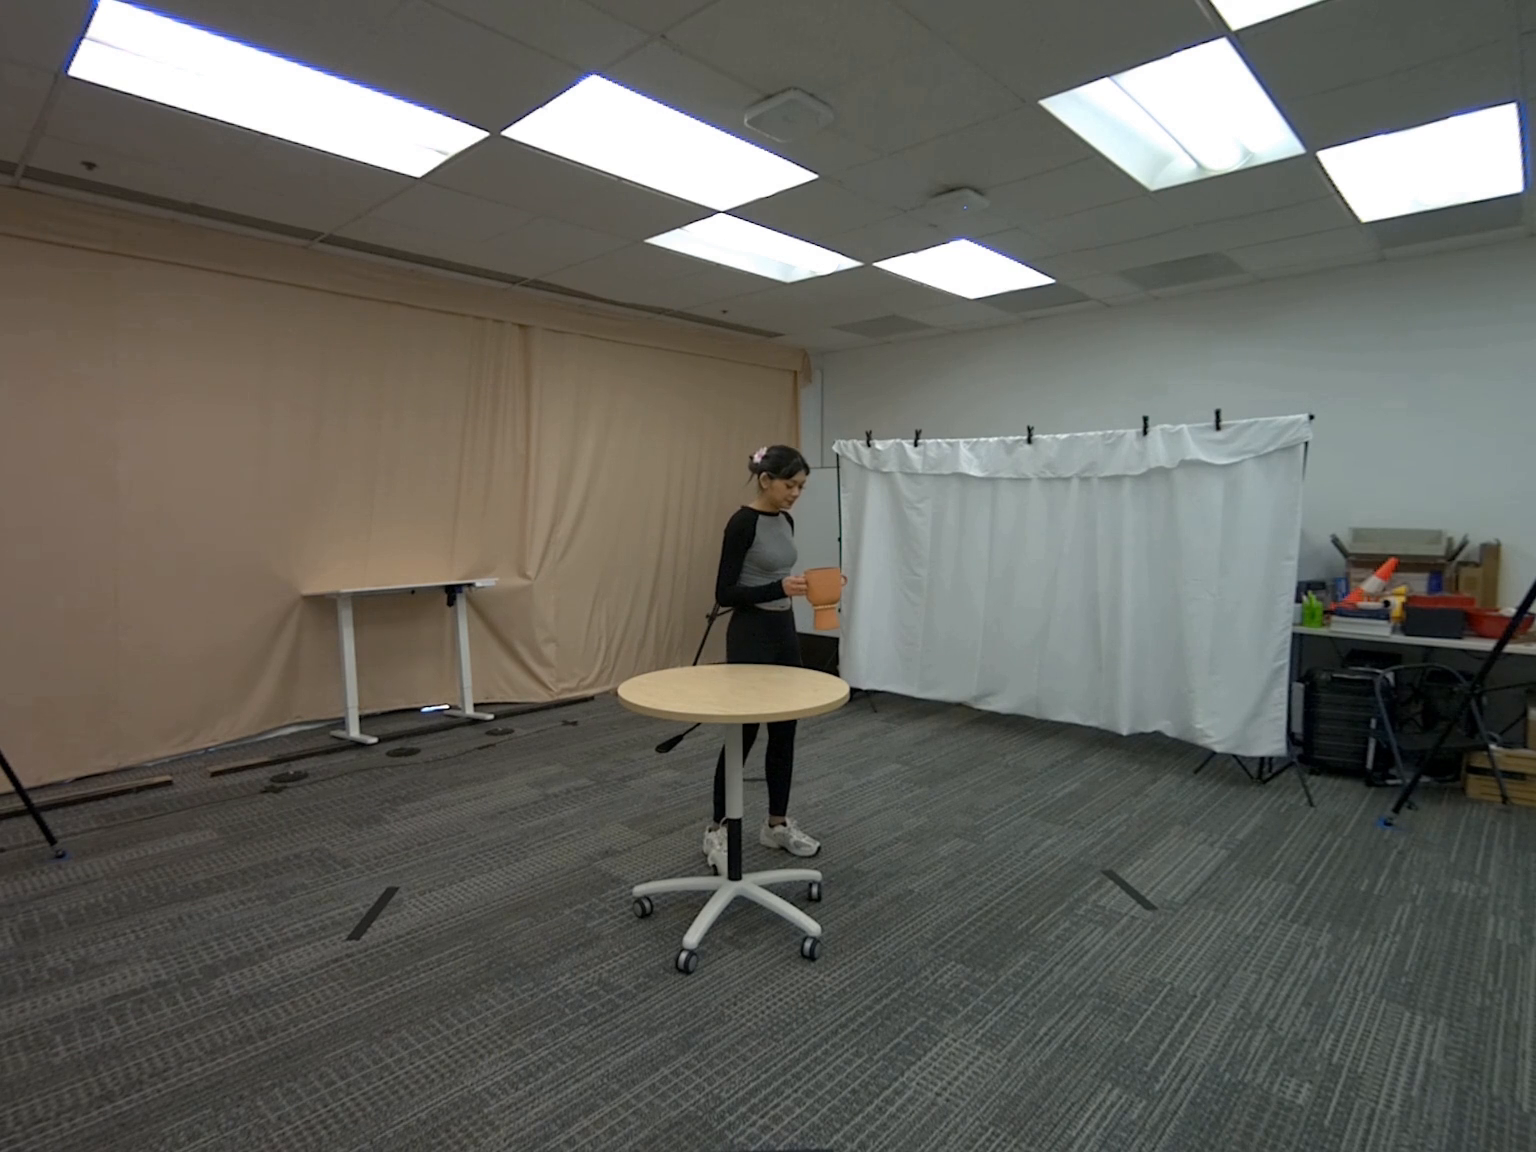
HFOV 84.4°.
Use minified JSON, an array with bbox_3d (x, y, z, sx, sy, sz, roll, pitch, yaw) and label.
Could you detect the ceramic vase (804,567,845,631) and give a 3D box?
[{"bbox_3d":[0.213,0.081,3.110,0.162,0.219,0.132,-3,2,21],"label":"ceramic vase"}]
